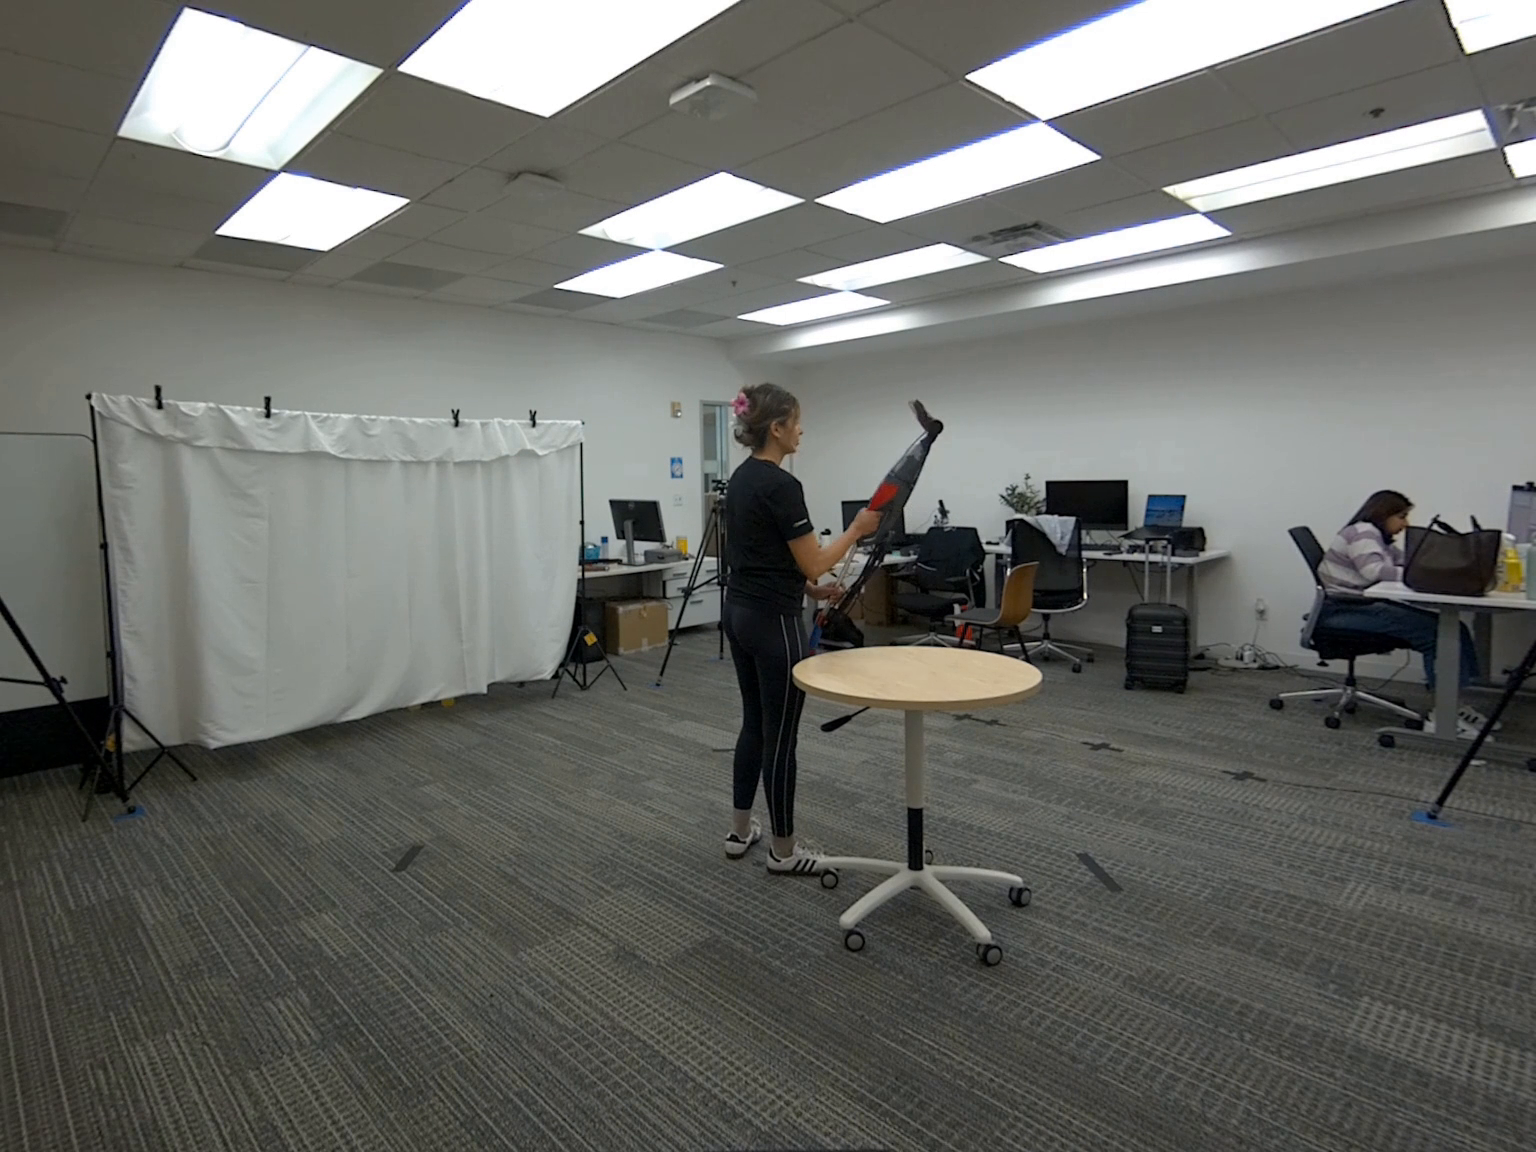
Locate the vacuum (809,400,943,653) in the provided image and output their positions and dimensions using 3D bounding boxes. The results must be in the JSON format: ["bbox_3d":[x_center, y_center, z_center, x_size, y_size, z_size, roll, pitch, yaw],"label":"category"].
[{"bbox_3d":[0.365,-0.100,3.102,0.145,1.043,0.252,23,12,5],"label":"vacuum"}]
